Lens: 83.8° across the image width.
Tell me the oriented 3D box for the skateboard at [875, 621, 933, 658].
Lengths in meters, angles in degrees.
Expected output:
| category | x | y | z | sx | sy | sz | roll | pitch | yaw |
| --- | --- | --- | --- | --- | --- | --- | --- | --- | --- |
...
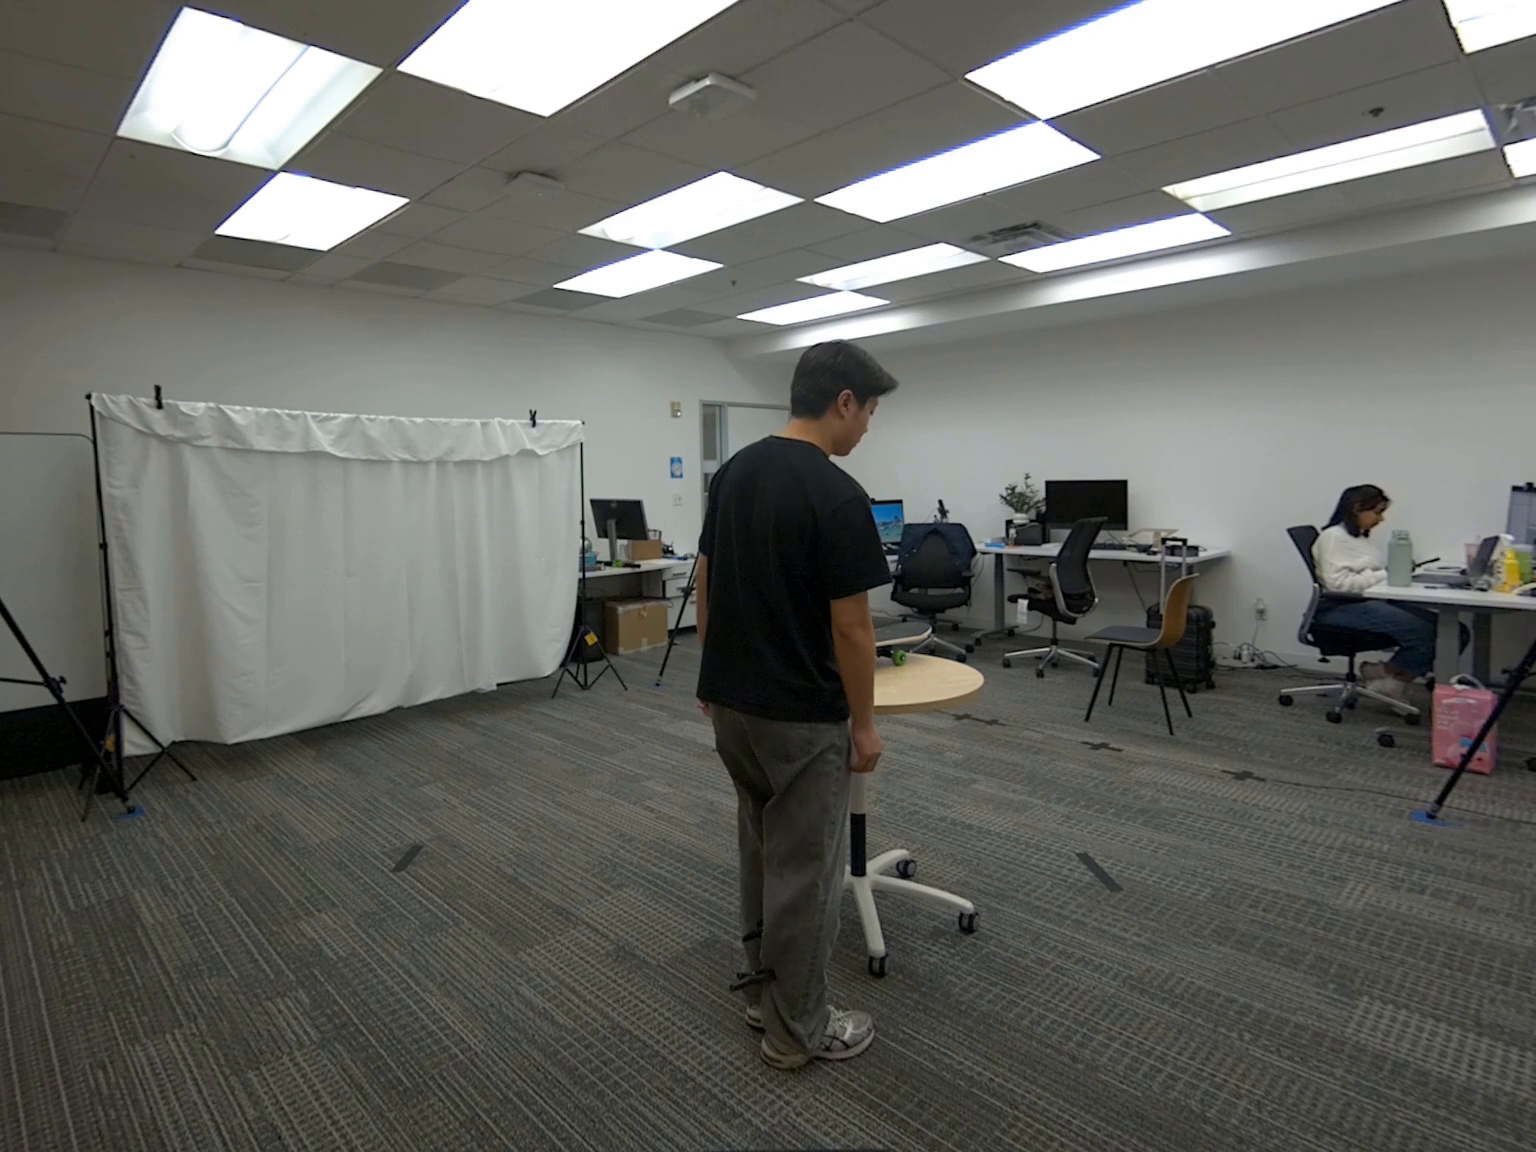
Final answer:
| category | x | y | z | sx | sy | sz | roll | pitch | yaw |
| --- | --- | --- | --- | --- | --- | --- | --- | --- | --- |
| skateboard | 0.205 | 0.251 | 2.742 | 0.766 | 0.110 | 0.199 | -5 | 8 | -33 |
